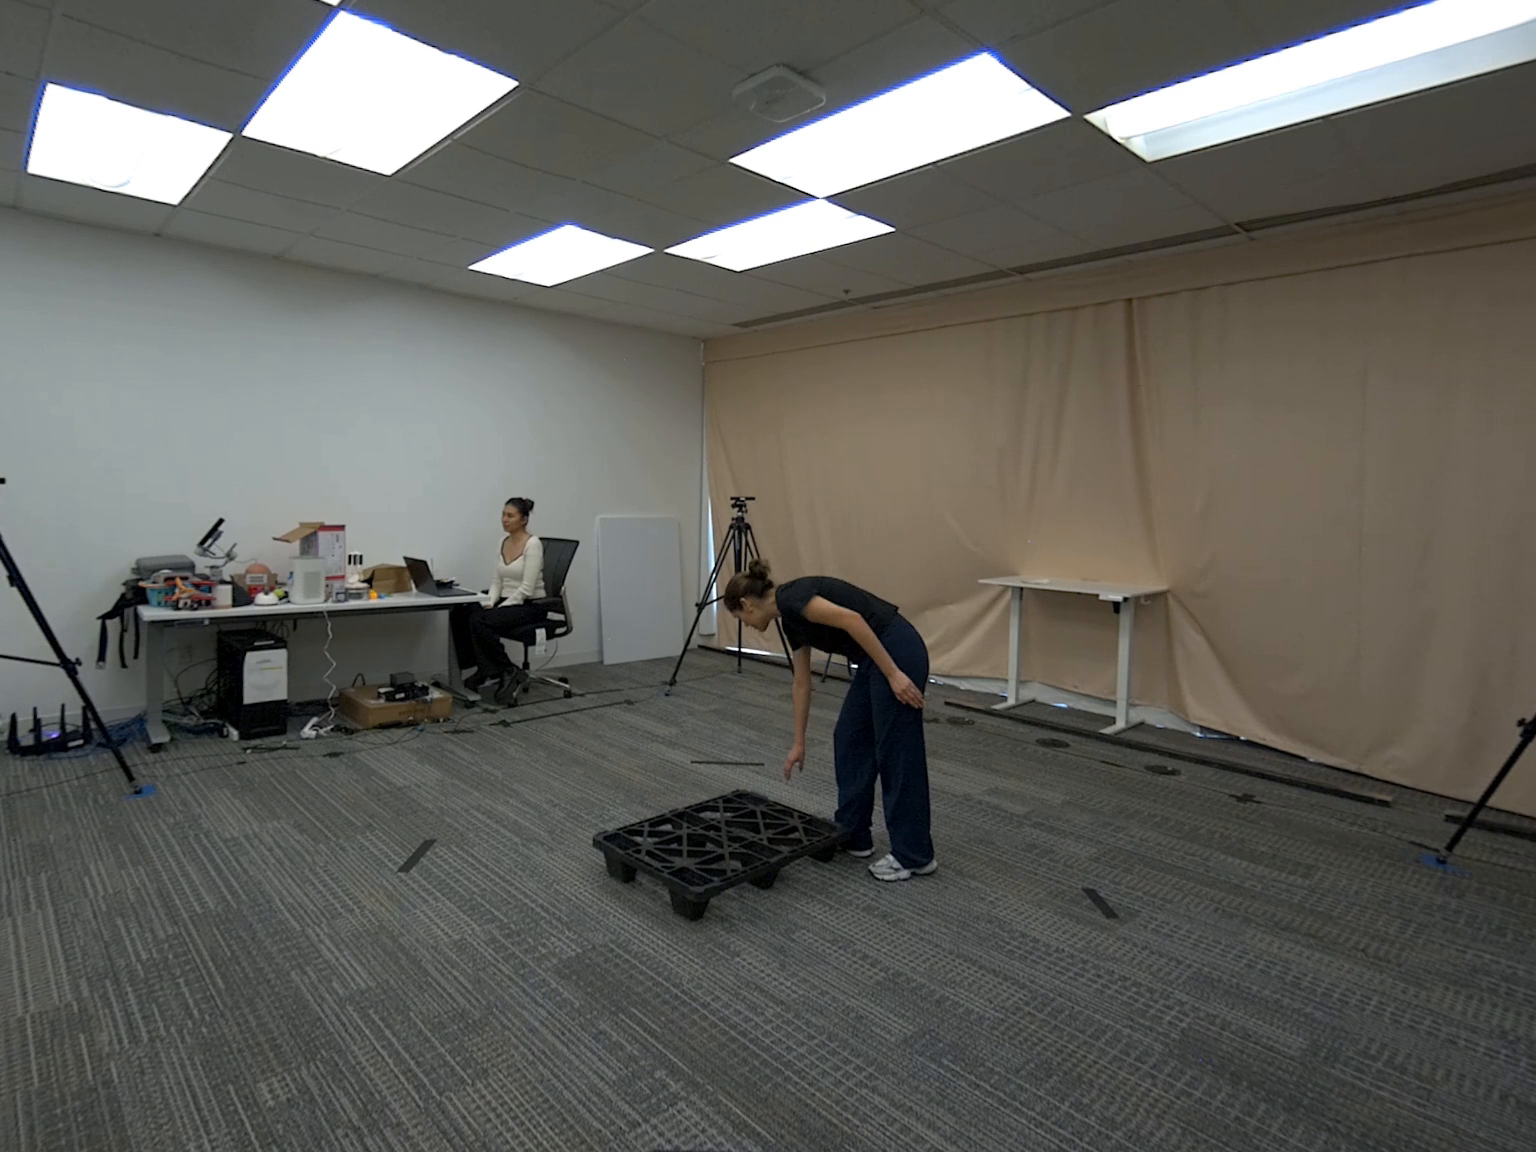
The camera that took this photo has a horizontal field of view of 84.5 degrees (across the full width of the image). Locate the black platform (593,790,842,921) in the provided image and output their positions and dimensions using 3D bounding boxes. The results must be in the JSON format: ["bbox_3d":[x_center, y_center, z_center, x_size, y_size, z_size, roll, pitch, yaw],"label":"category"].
[{"bbox_3d":[-0.178,1.037,3.158,0.620,0.143,0.787,6,6,44],"label":"black platform"}]
